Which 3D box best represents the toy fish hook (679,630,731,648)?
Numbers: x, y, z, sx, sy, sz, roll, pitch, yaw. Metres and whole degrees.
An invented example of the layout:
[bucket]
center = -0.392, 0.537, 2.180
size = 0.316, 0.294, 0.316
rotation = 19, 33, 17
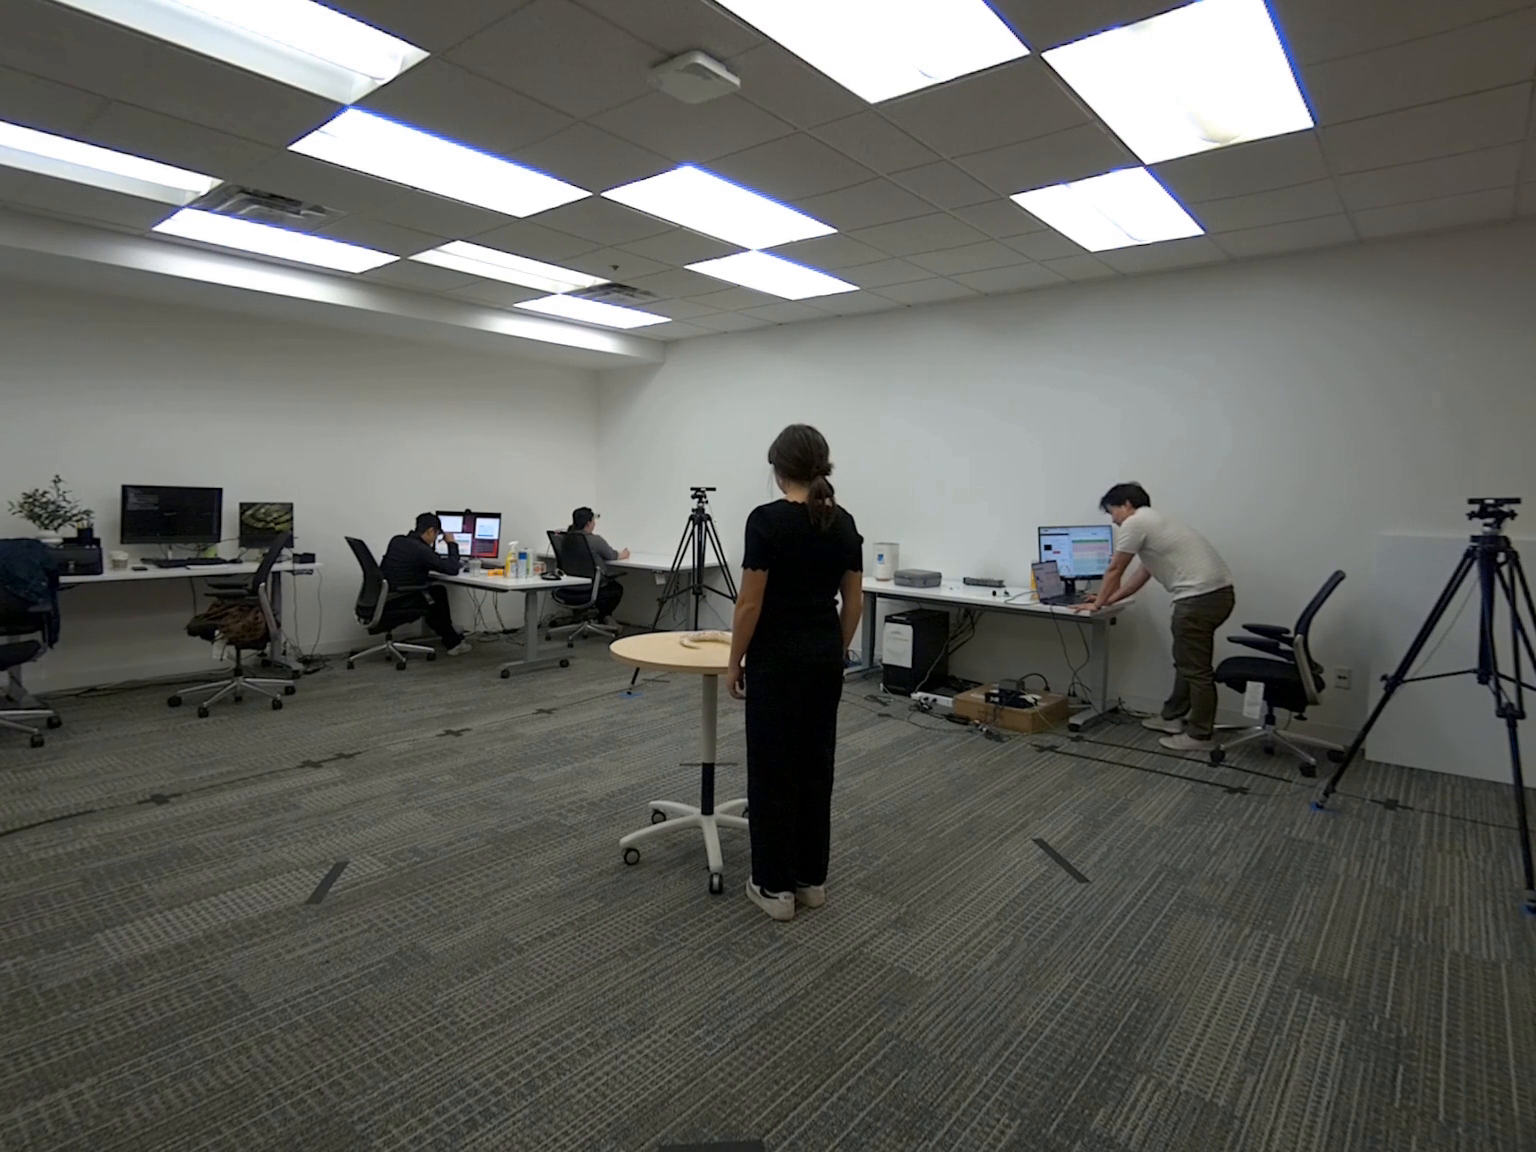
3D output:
[toy fish hook]
center = -0.163, 0.262, 3.199
size = 0.219, 0.048, 0.523
rotation = -12, 11, -36
